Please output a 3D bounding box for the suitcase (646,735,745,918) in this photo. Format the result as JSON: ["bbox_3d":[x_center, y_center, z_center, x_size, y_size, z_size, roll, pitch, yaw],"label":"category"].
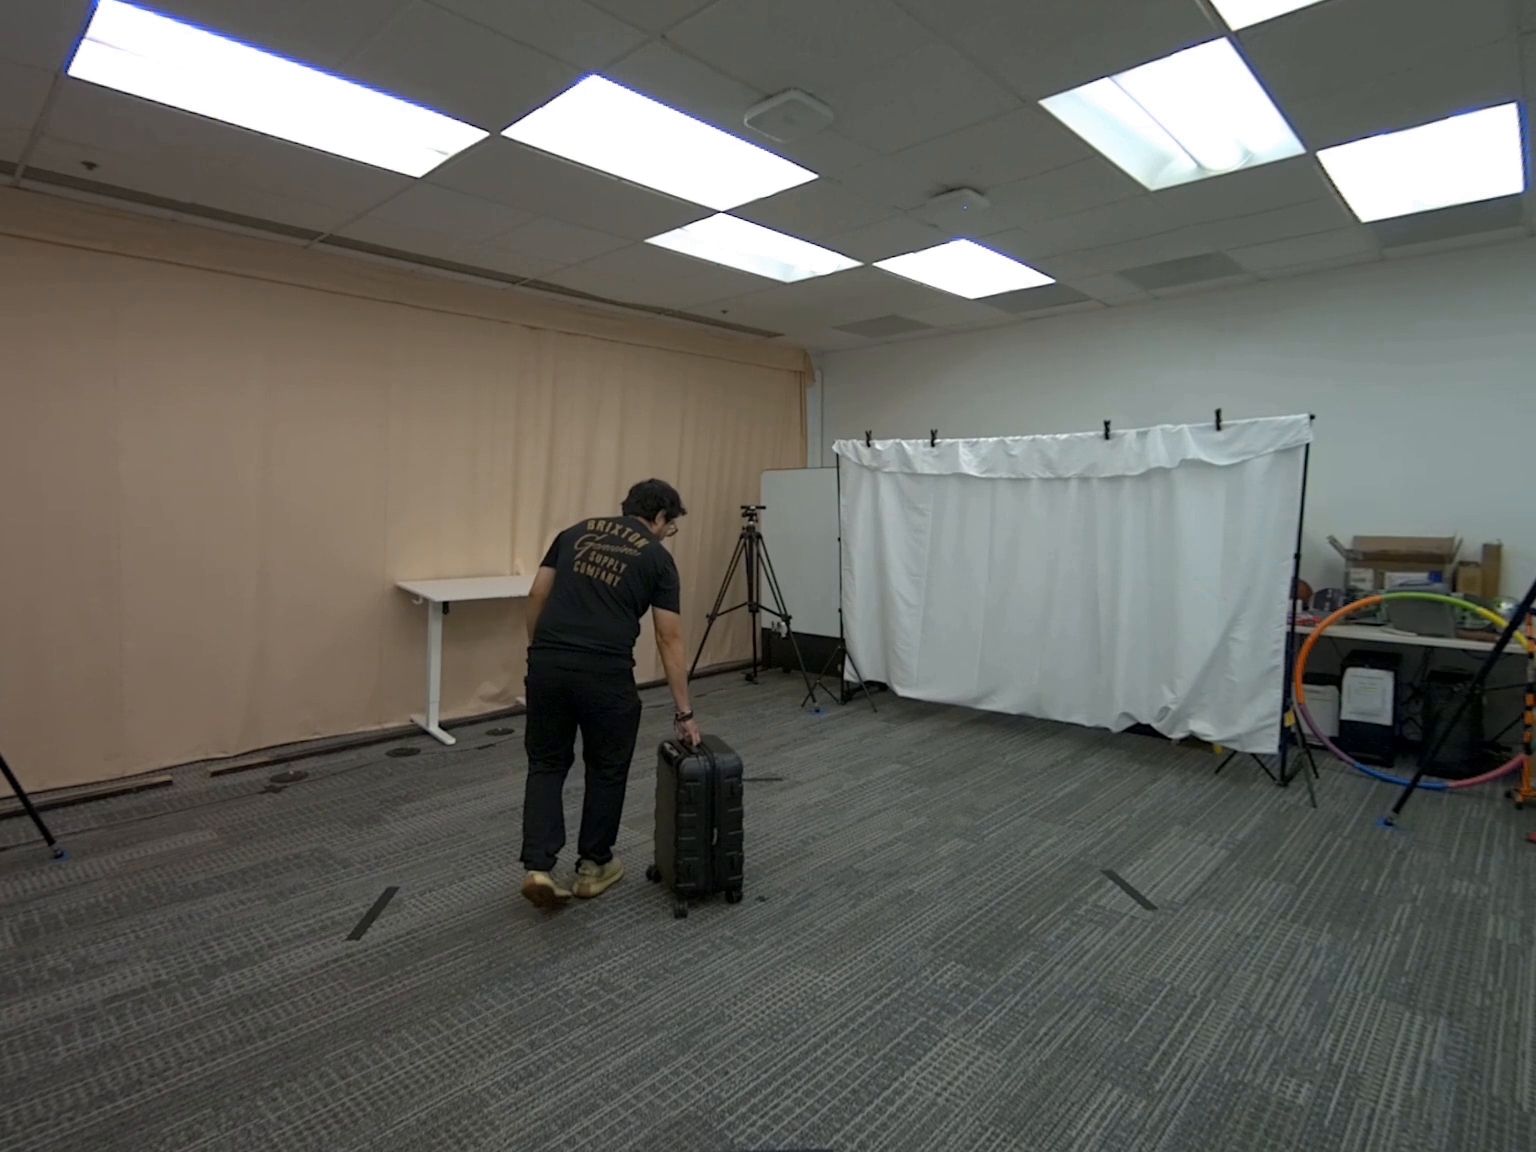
[{"bbox_3d":[-0.247,0.867,3.031,0.243,0.548,0.384,1,3,-20],"label":"suitcase"}]
